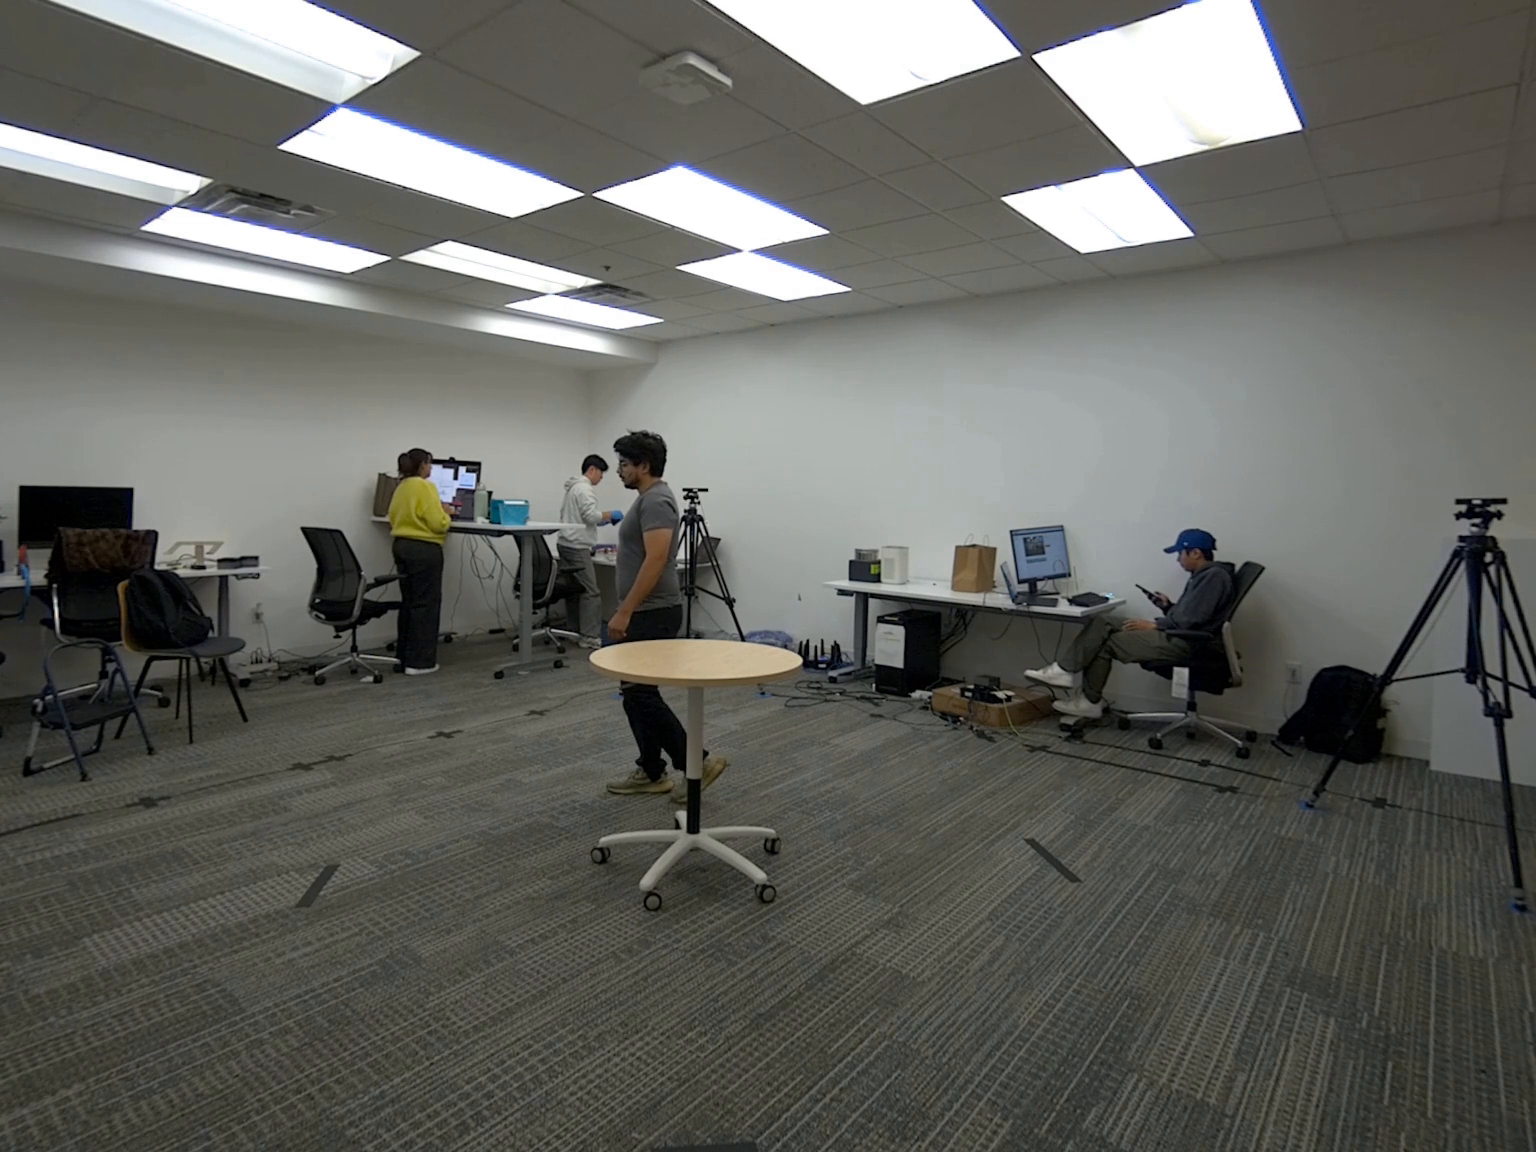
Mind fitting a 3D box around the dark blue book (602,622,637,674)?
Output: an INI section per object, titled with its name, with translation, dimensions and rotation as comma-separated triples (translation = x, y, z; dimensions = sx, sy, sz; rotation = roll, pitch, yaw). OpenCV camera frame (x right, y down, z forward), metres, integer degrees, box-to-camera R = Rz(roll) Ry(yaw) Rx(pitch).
[dark blue book]
translation = -0.731, 0.350, 4.131
dimensions = 0.167, 0.248, 0.044
rotation = -4, -12, 24
